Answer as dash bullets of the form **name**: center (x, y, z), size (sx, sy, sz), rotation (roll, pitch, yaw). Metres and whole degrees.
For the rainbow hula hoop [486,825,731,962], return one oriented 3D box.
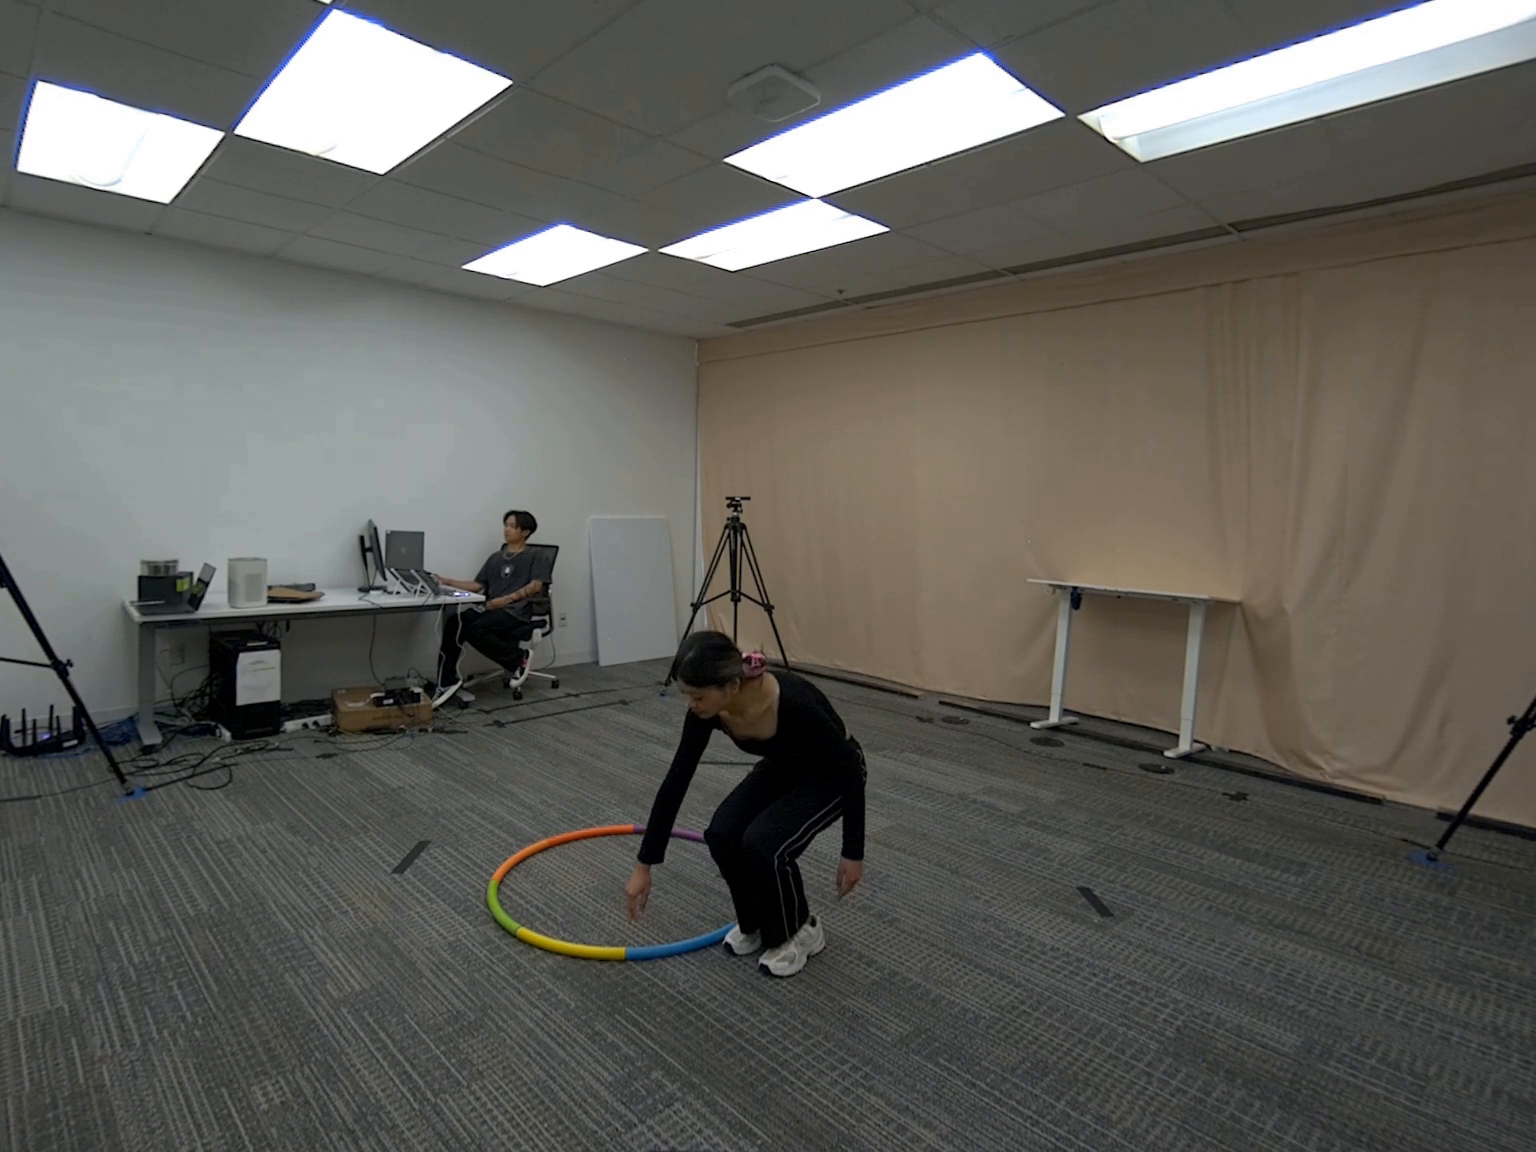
- **rainbow hula hoop**: center (-0.492, 1.075, 3.004), size (0.978, 0.035, 0.982), rotation (1, 5, -1)
